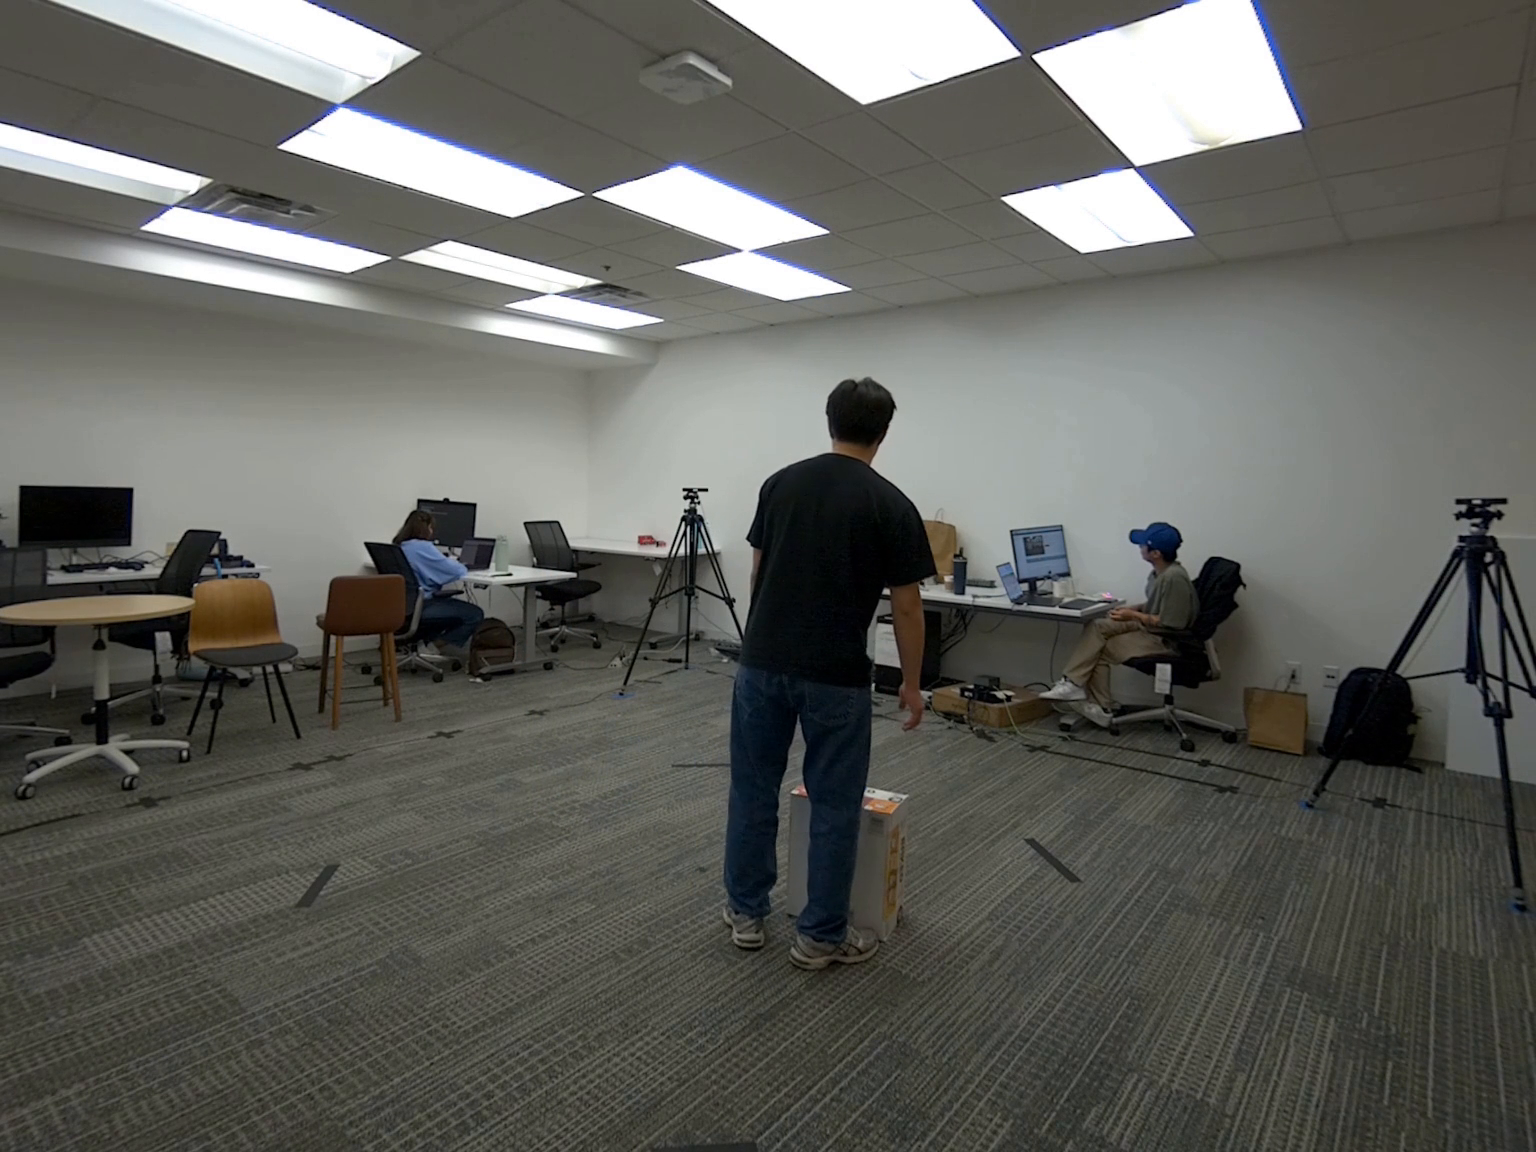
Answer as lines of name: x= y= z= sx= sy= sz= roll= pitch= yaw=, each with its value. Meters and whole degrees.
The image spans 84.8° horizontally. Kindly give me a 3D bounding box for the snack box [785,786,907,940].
snack box: x=0.248 y=0.907 z=2.783 sx=0.350 sy=0.404 sz=0.200 roll=4 pitch=3 yaw=27
